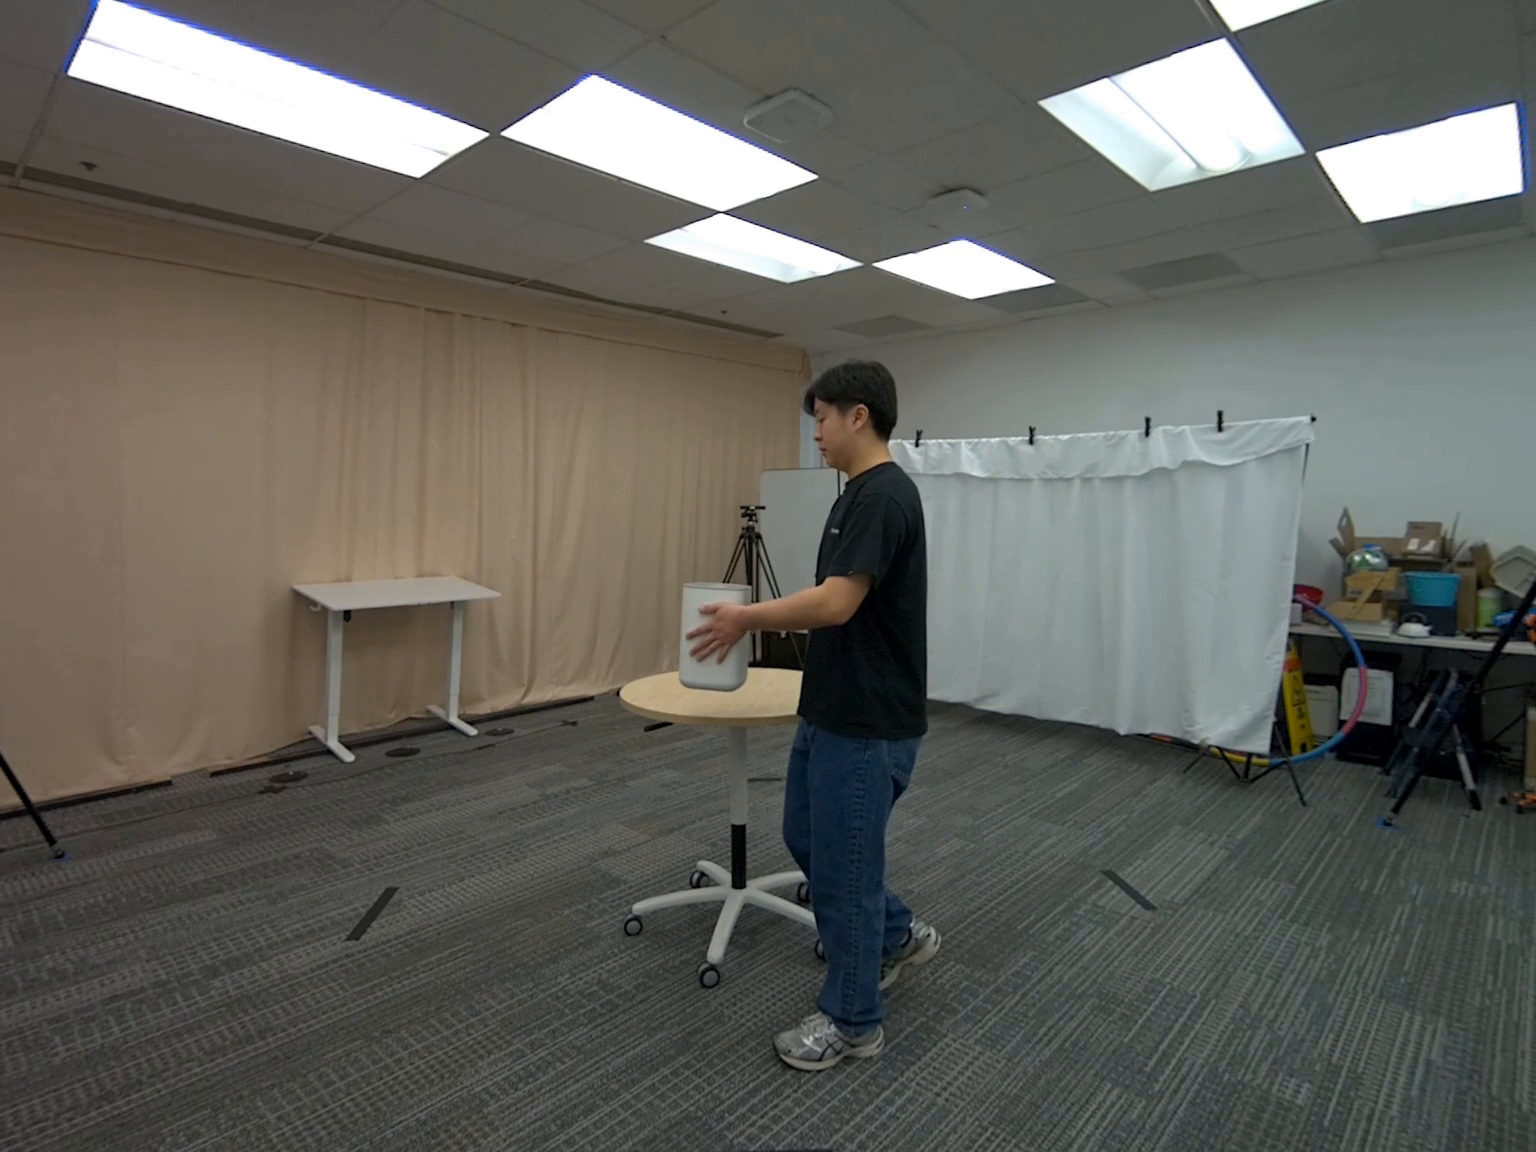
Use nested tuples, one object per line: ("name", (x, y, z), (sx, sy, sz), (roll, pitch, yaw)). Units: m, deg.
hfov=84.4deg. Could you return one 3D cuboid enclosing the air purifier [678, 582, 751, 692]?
("air purifier", (-0.125, 0.161, 2.214), (0.173, 0.265, 0.170), (3, 2, 9))
